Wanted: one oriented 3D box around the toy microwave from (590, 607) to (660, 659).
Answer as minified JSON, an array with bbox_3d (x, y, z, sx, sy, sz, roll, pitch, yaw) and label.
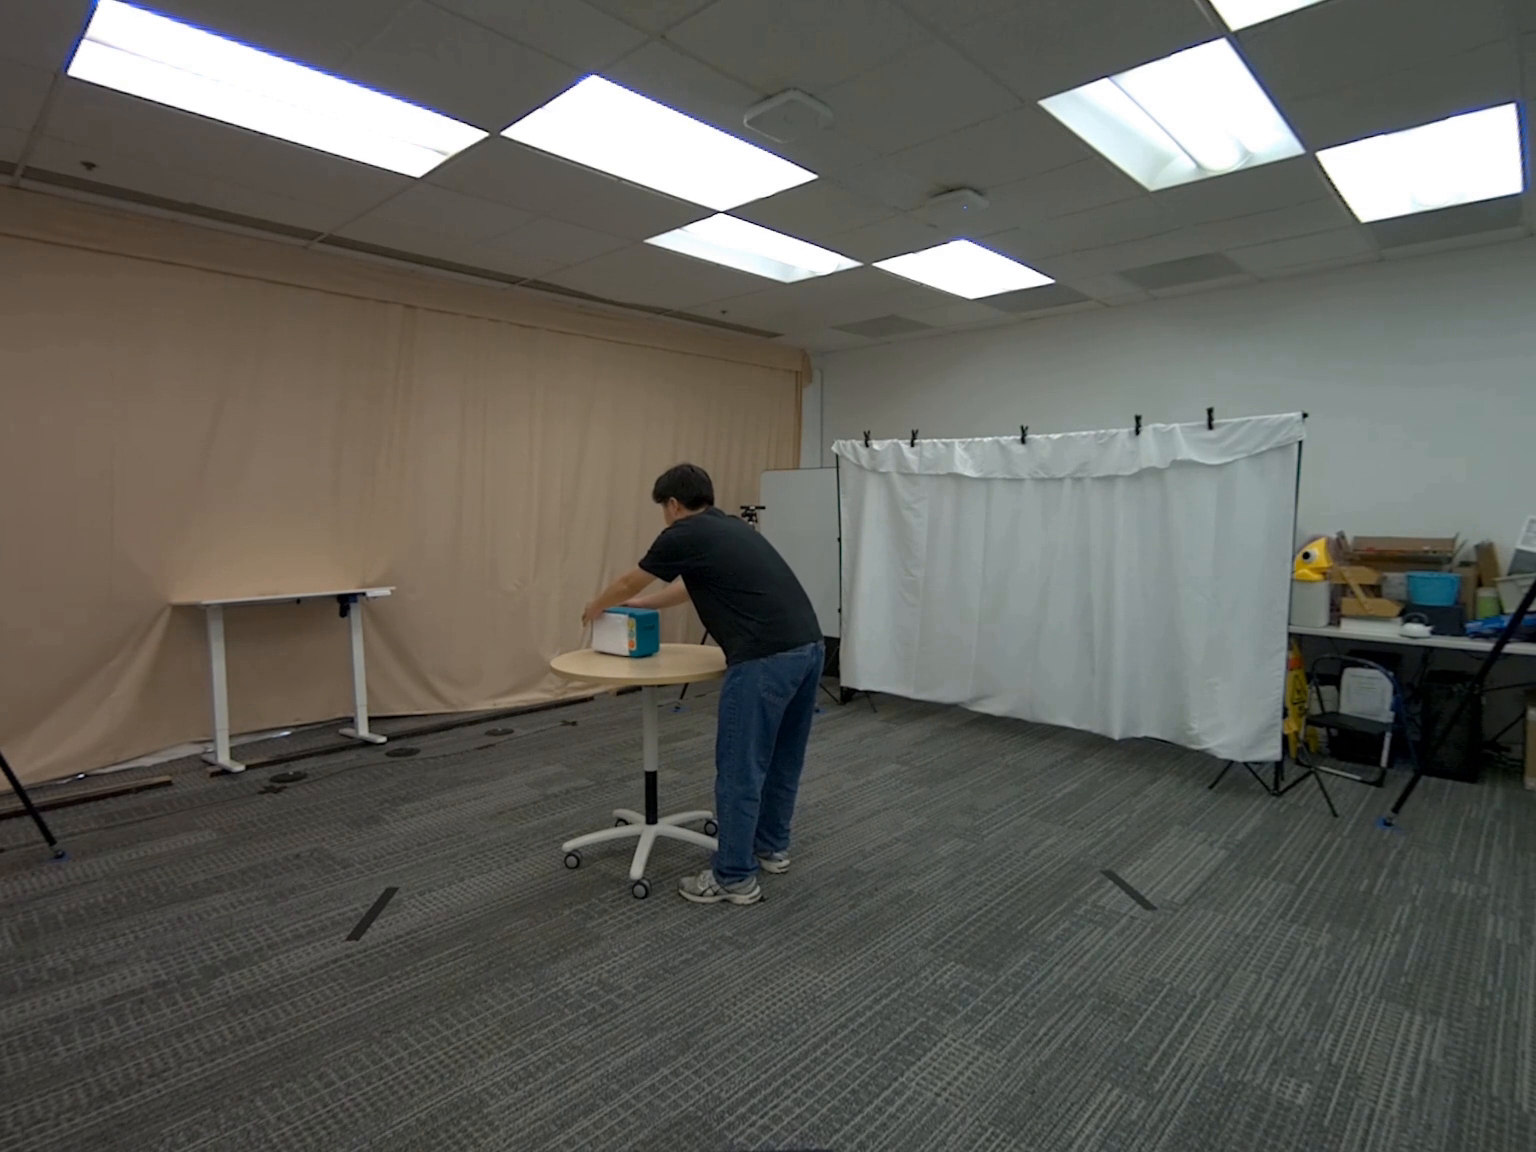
[{"bbox_3d":[-0.590,0.227,3.427,0.295,0.184,0.148,3,5,38],"label":"toy microwave"}]
